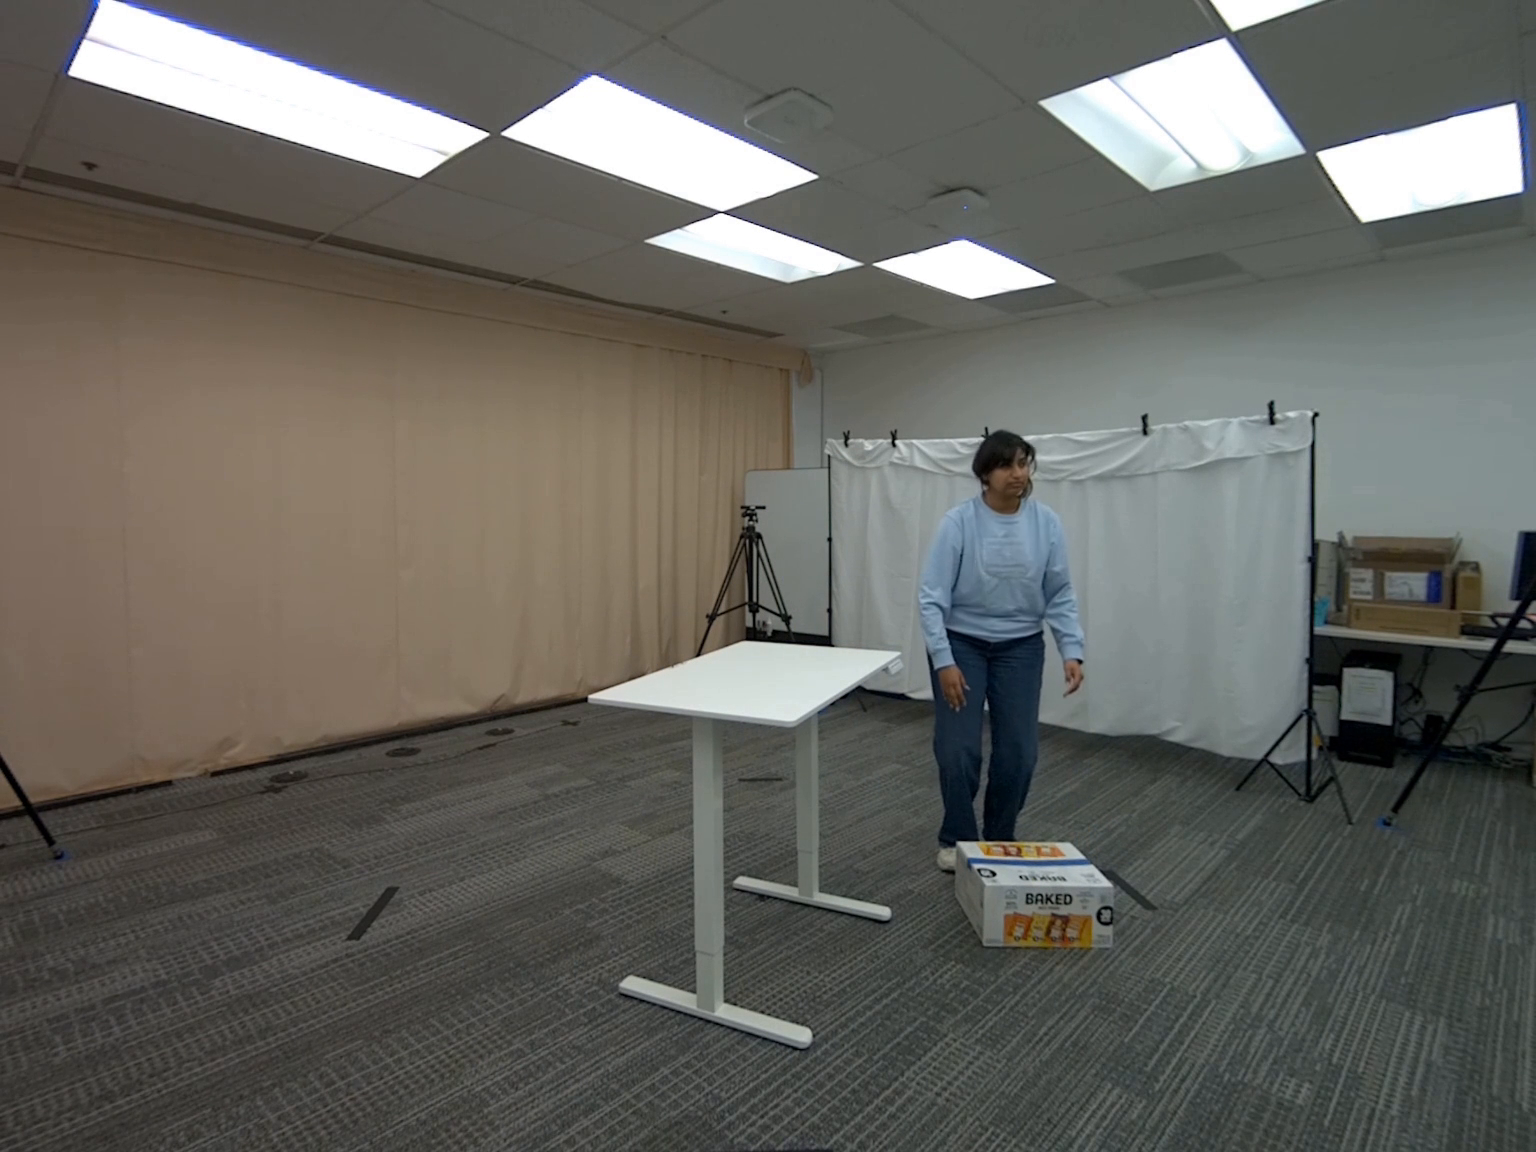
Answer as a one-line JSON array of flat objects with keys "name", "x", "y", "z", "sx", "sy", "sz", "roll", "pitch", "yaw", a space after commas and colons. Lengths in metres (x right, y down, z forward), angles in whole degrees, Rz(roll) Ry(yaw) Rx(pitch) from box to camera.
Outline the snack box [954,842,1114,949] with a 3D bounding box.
[{"name": "snack box", "x": 0.869, "y": 1.048, "z": 2.806, "sx": 0.405, "sy": 0.205, "sz": 0.341, "roll": 0, "pitch": 4, "yaw": -1}]
